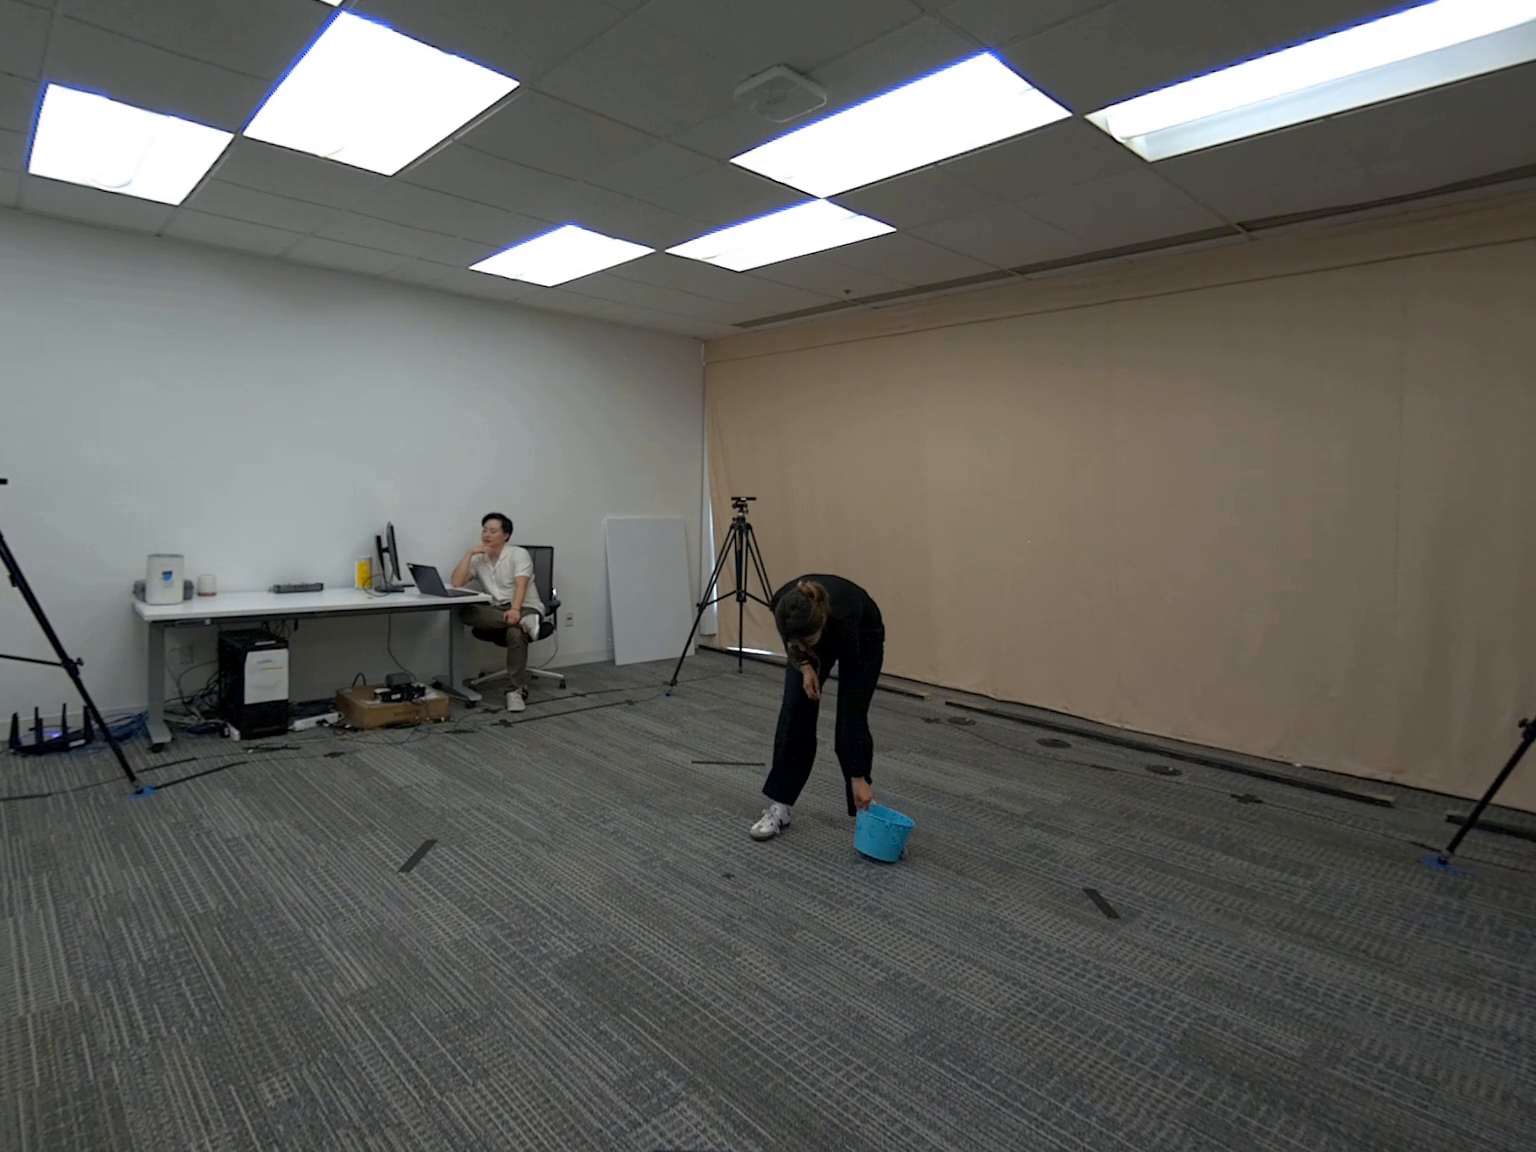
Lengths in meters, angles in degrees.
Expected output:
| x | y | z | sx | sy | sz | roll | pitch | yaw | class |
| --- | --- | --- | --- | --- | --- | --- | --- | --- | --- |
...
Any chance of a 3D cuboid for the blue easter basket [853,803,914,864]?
| x | y | z | sx | sy | sz | roll | pitch | yaw | class |
| --- | --- | --- | --- | --- | --- | --- | --- | --- | --- |
| 0.438 | 1.009 | 3.292 | 0.243 | 0.156 | 0.244 | 16 | 0 | -1 | blue easter basket |
